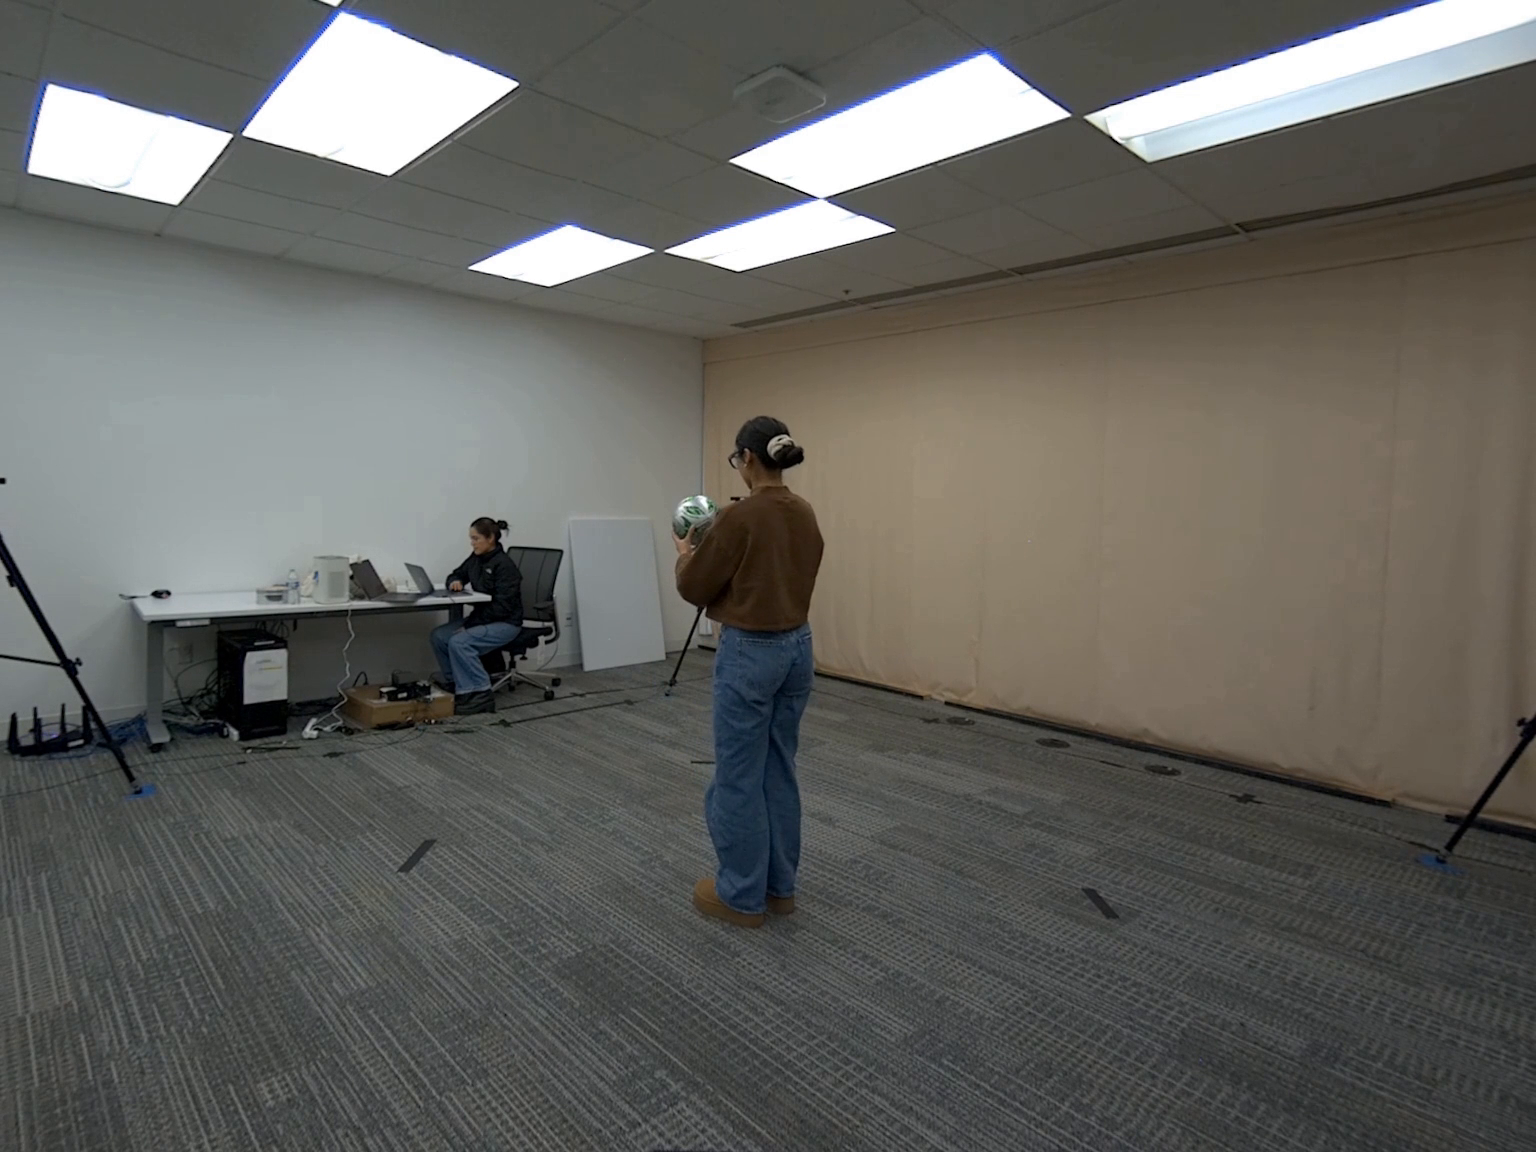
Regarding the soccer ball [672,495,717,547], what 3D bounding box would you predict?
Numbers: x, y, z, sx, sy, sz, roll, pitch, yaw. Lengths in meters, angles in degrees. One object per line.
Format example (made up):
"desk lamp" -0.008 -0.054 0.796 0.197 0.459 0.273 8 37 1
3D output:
"soccer ball" -0.267 -0.204 3.076 0.187 0.187 0.188 1 4 -1
